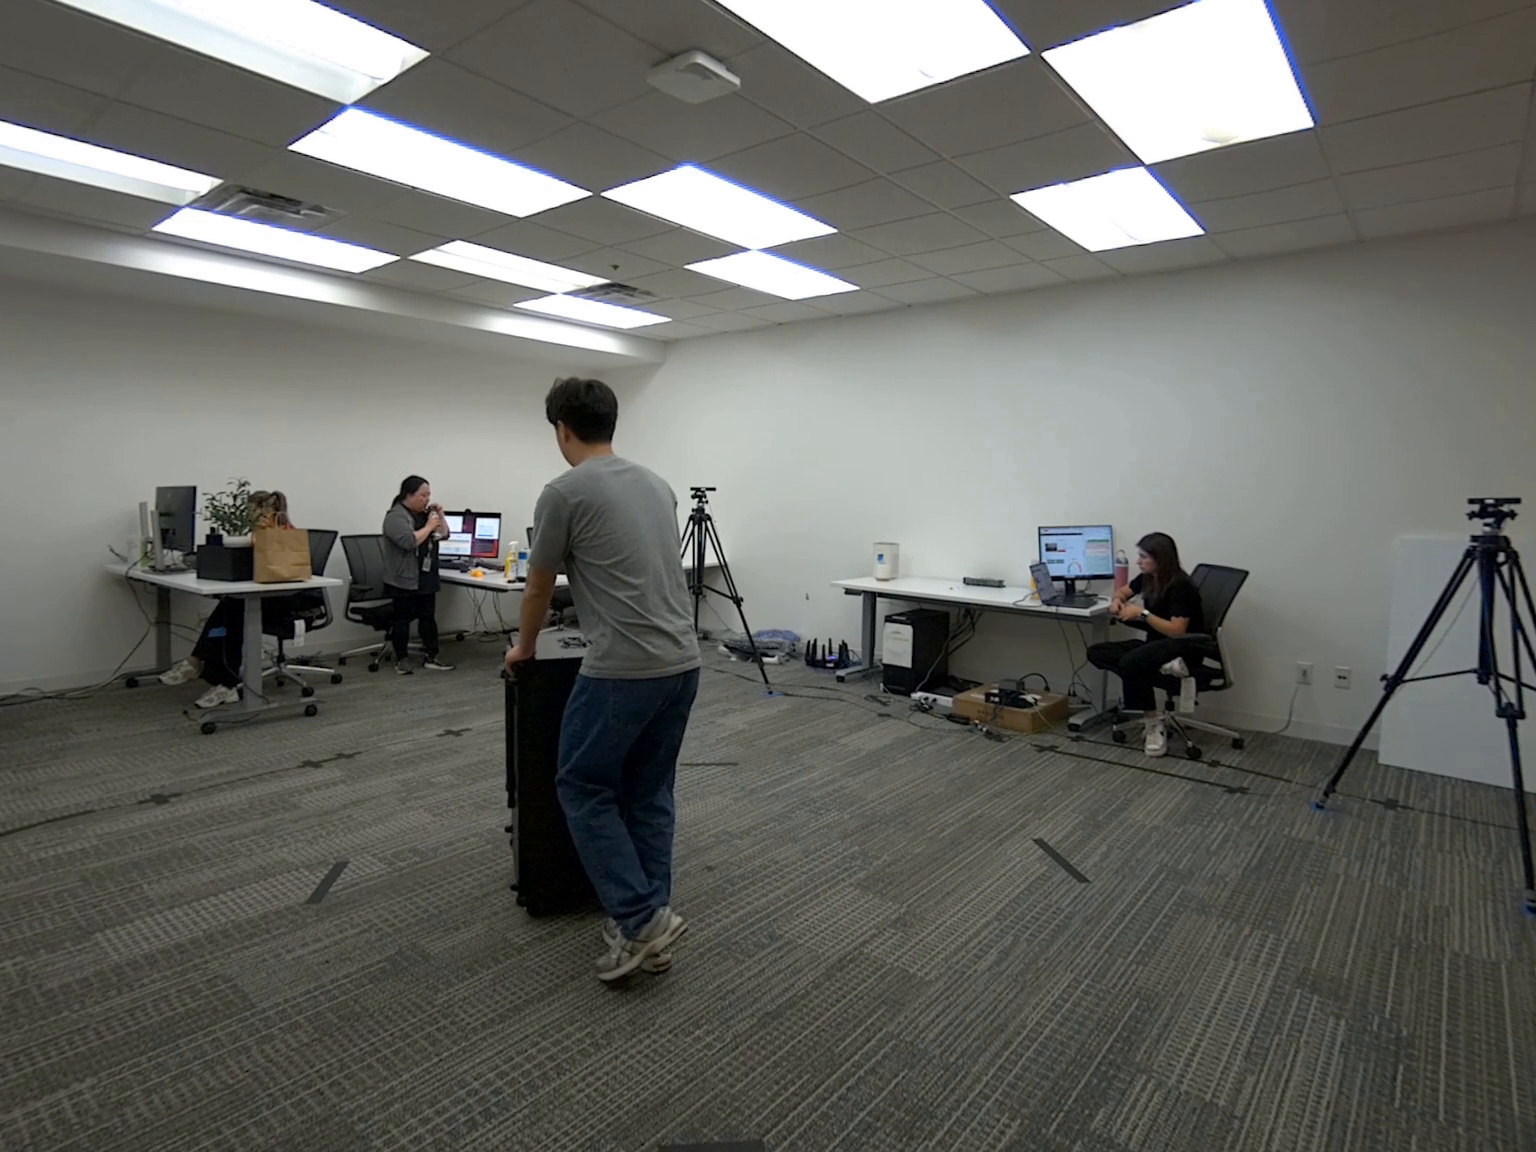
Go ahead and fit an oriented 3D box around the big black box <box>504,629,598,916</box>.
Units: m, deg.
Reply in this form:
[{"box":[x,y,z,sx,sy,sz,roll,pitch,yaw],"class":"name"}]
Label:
[{"box":[-0.712,0.657,2.907,0.389,0.859,0.532,-2,4,-18],"class":"big black box"}]
